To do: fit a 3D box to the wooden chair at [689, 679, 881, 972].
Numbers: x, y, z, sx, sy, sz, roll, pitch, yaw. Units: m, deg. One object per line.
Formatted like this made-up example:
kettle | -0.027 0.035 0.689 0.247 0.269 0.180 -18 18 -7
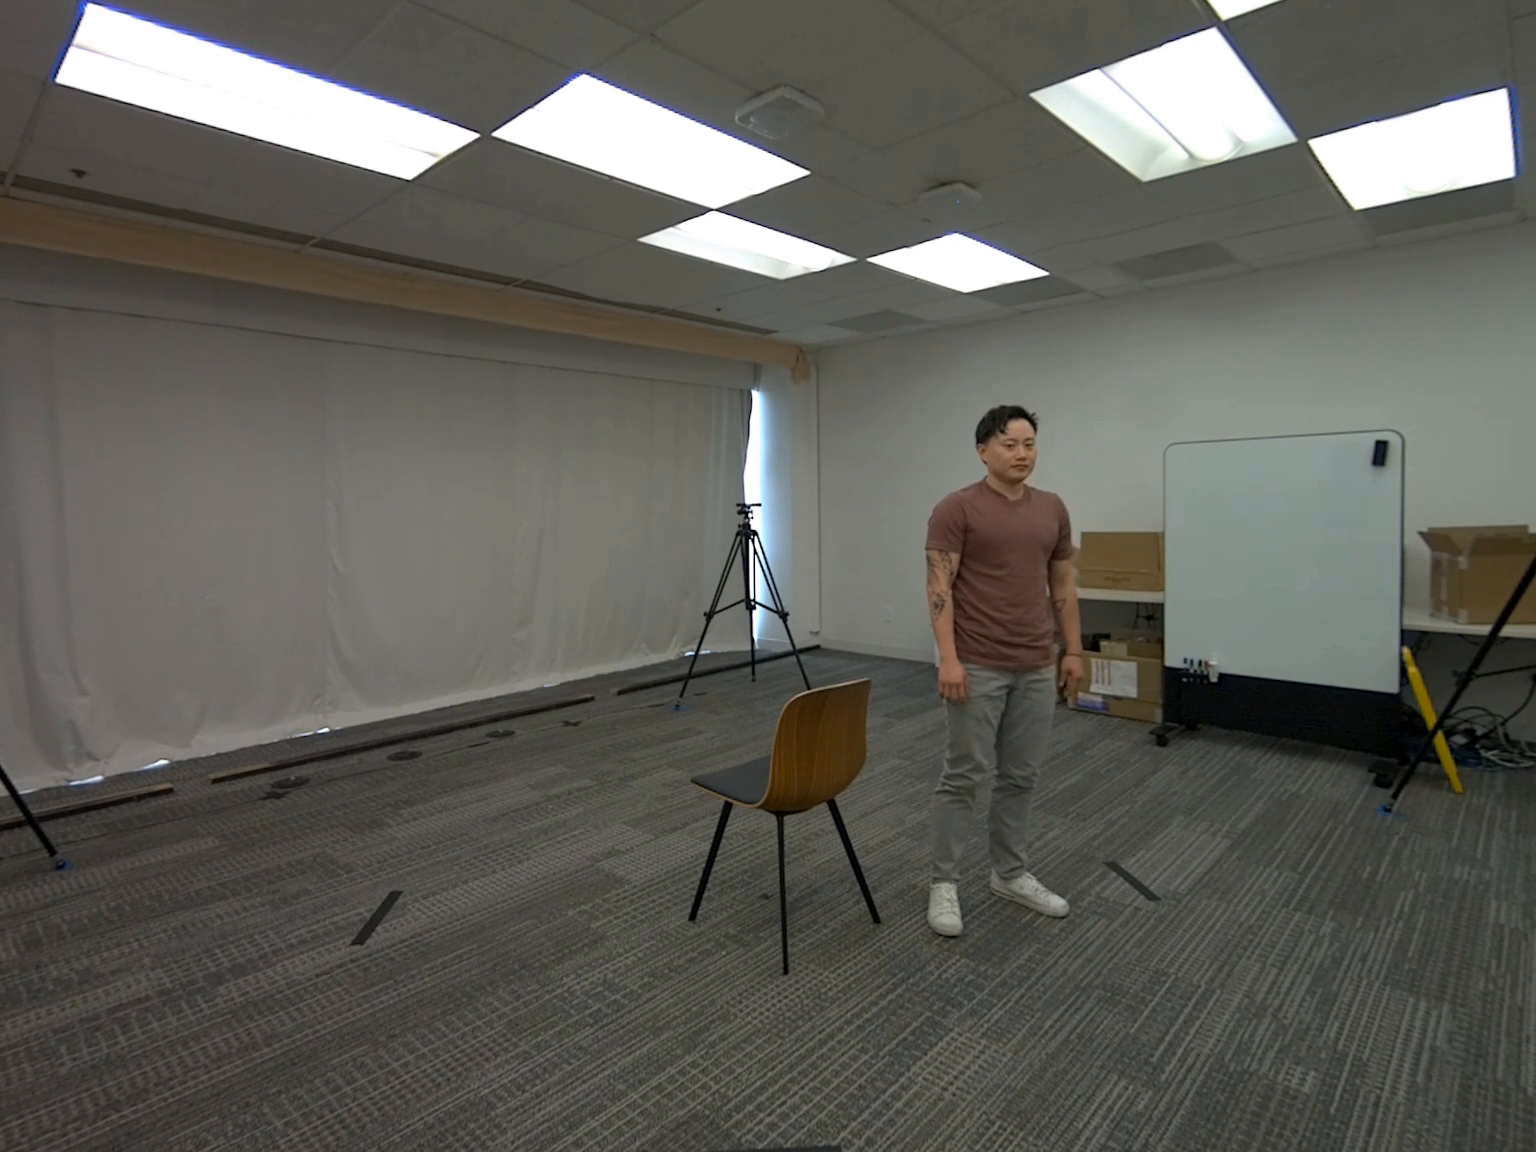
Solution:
wooden chair | 0.040 0.727 2.774 0.464 0.873 0.541 -5 10 -43
